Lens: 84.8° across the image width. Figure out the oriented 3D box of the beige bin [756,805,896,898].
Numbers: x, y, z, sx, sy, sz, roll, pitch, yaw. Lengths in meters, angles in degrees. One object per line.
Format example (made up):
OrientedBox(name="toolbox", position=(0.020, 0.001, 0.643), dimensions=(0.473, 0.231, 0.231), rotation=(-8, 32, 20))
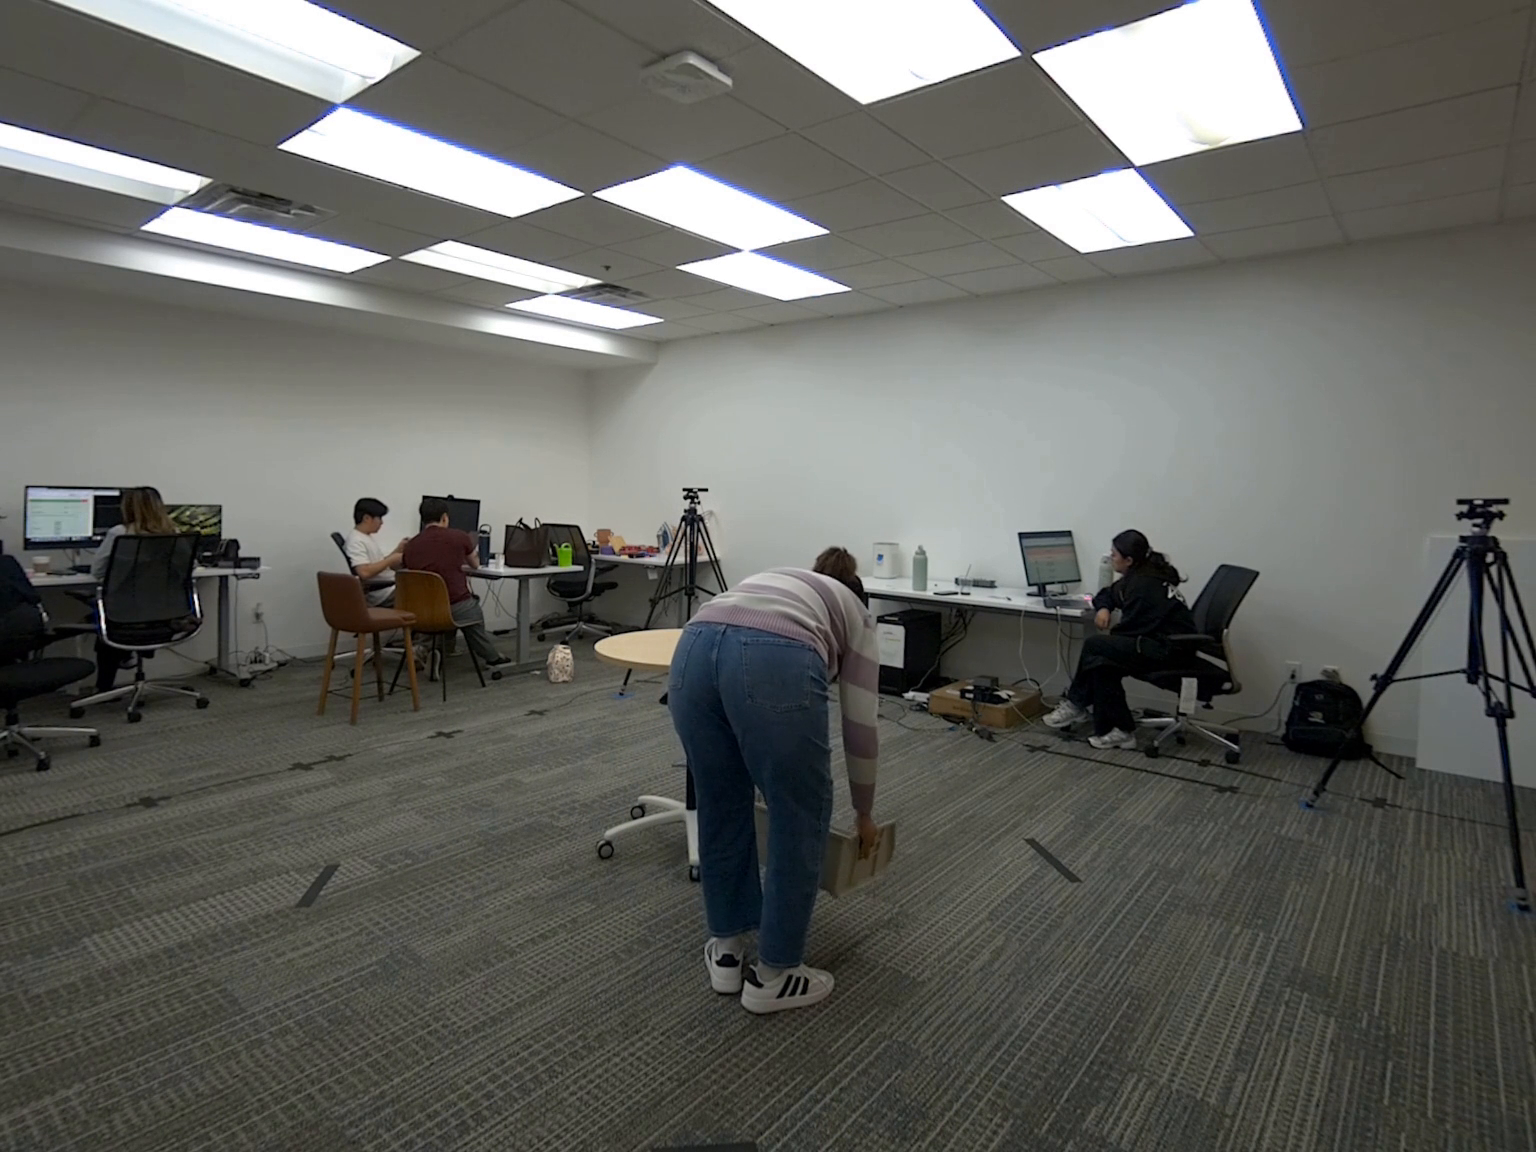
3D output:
OrientedBox(name="beige bin", position=(0.126, 0.797, 2.670), dimensions=(0.437, 0.189, 0.365), rotation=(10, 1, 33))
